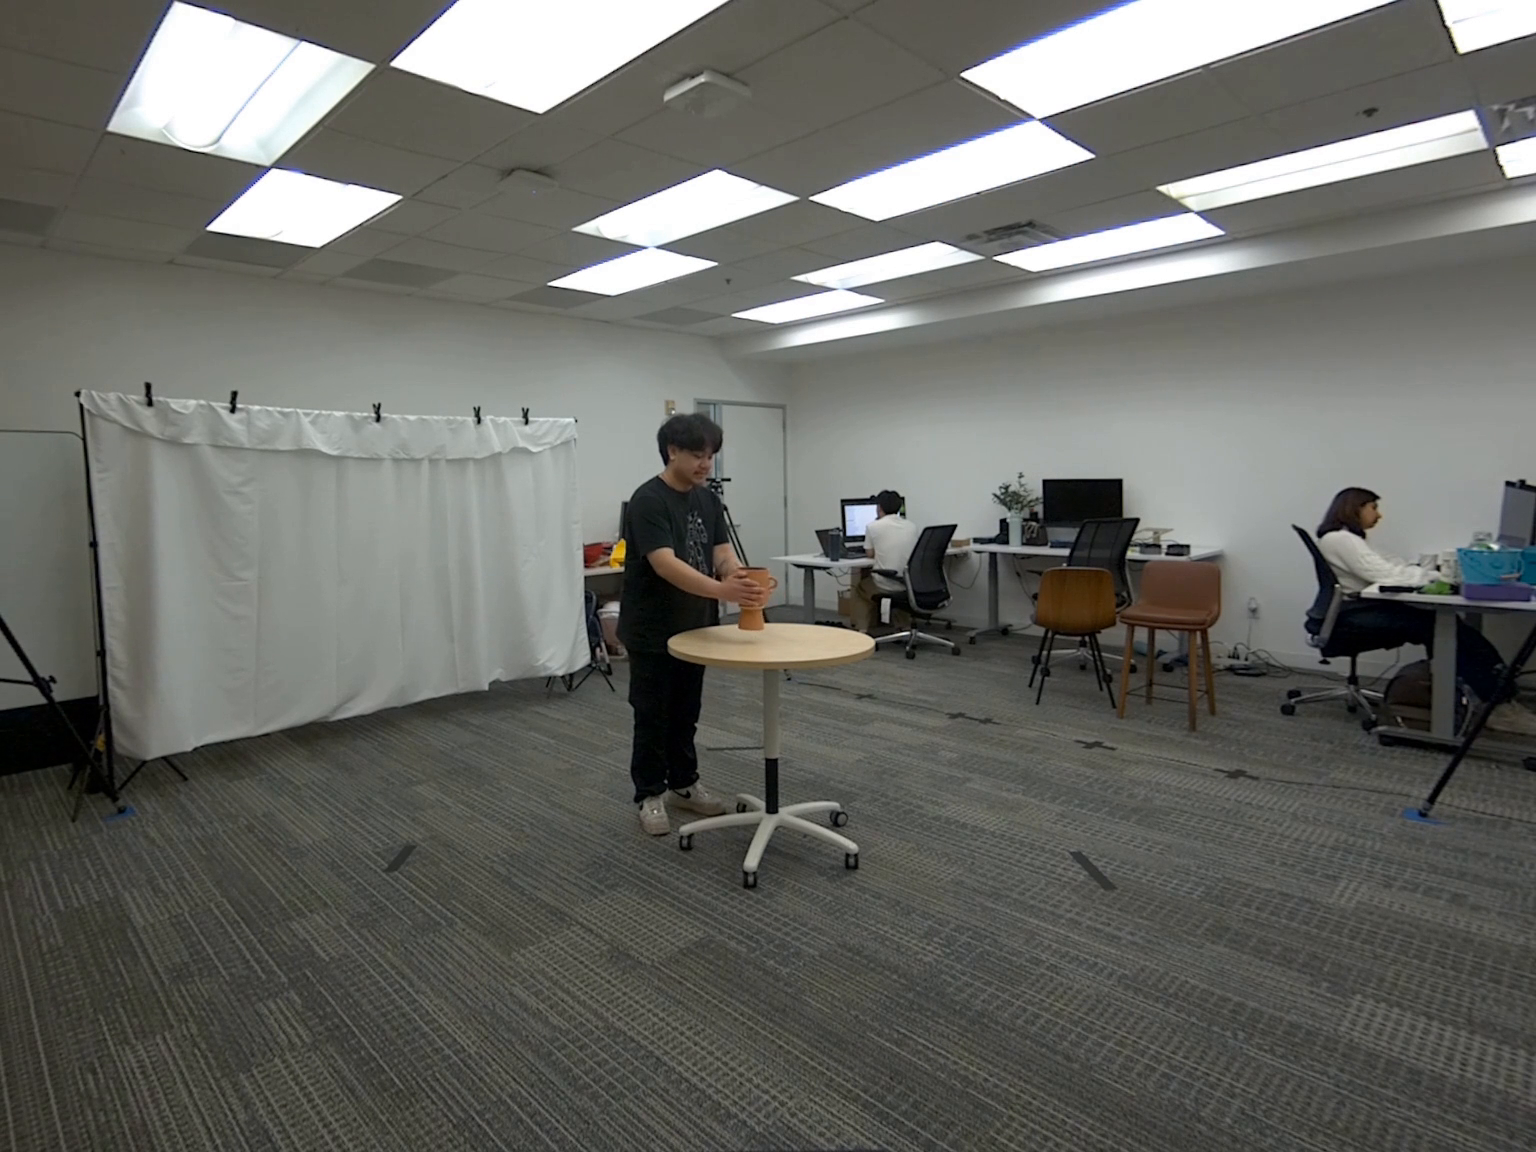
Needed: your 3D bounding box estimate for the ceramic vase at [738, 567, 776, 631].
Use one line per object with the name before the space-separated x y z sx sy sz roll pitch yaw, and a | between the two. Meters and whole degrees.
ceramic vase | -0.066 0.083 3.123 0.131 0.219 0.164 -3 6 -43
